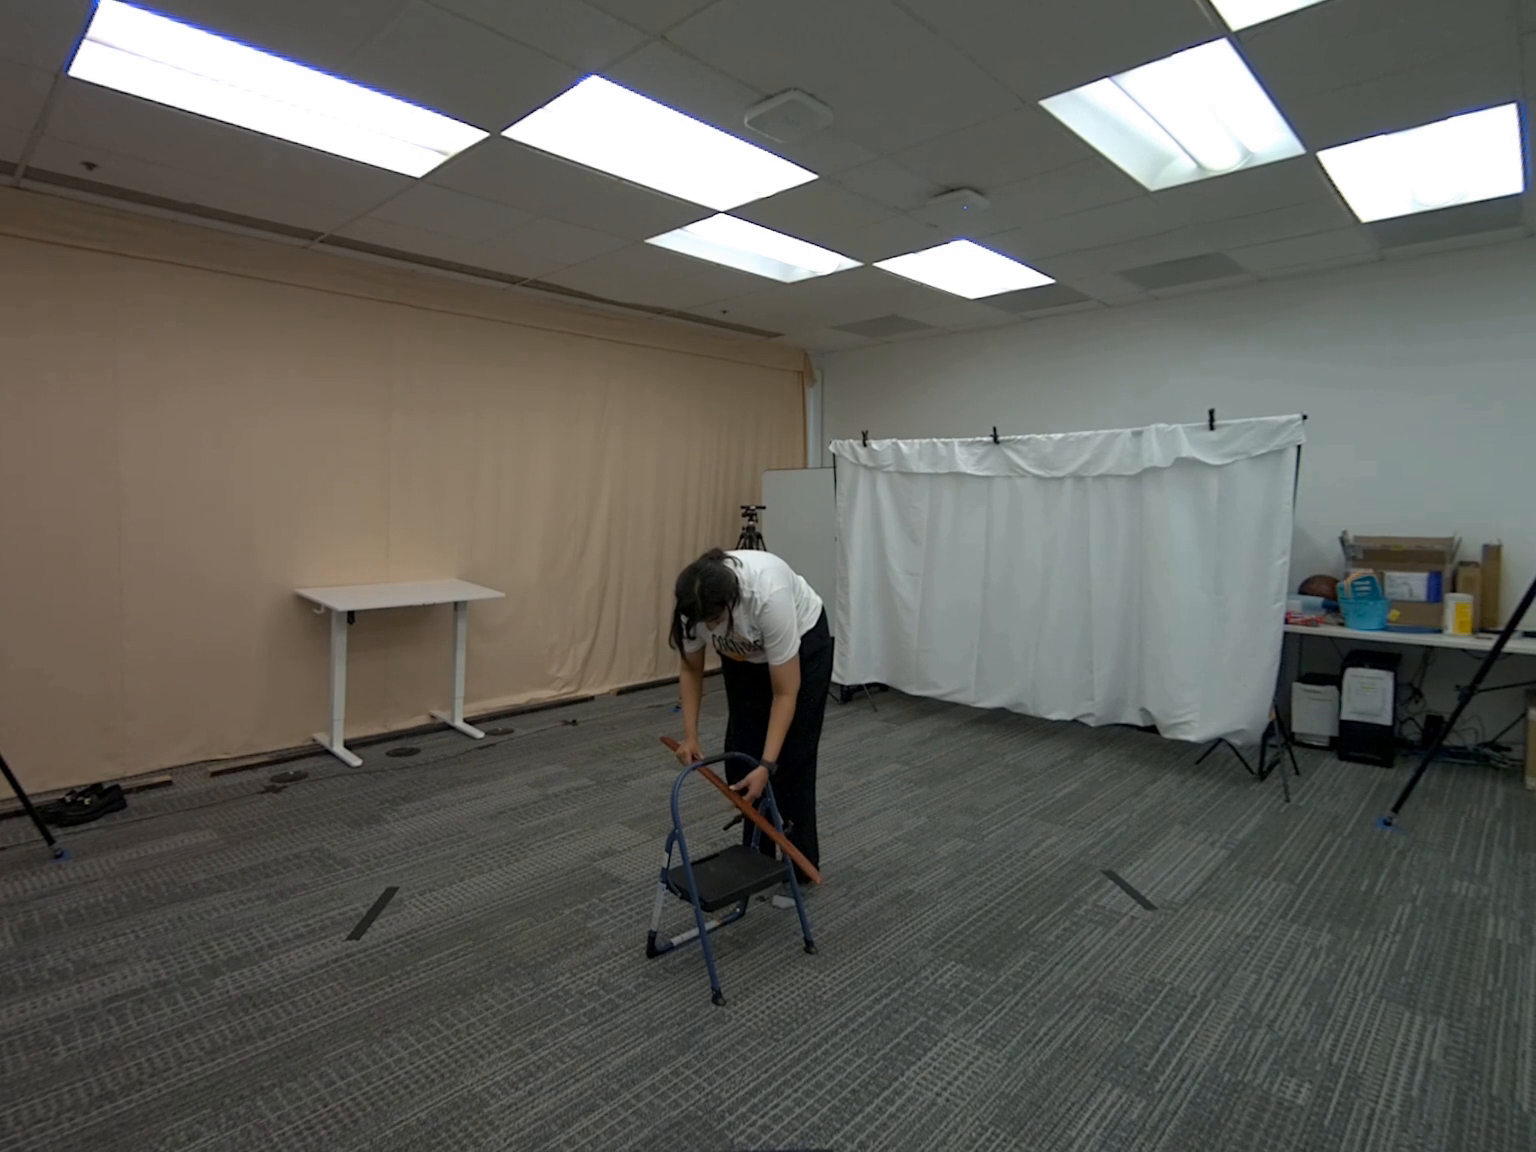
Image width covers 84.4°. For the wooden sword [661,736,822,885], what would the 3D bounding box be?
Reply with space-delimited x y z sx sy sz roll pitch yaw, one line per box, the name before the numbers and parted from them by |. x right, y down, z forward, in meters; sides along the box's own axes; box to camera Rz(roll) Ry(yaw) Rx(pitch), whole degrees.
wooden sword | -0.101 0.685 2.614 0.050 0.024 1.057 26 -2 -31
